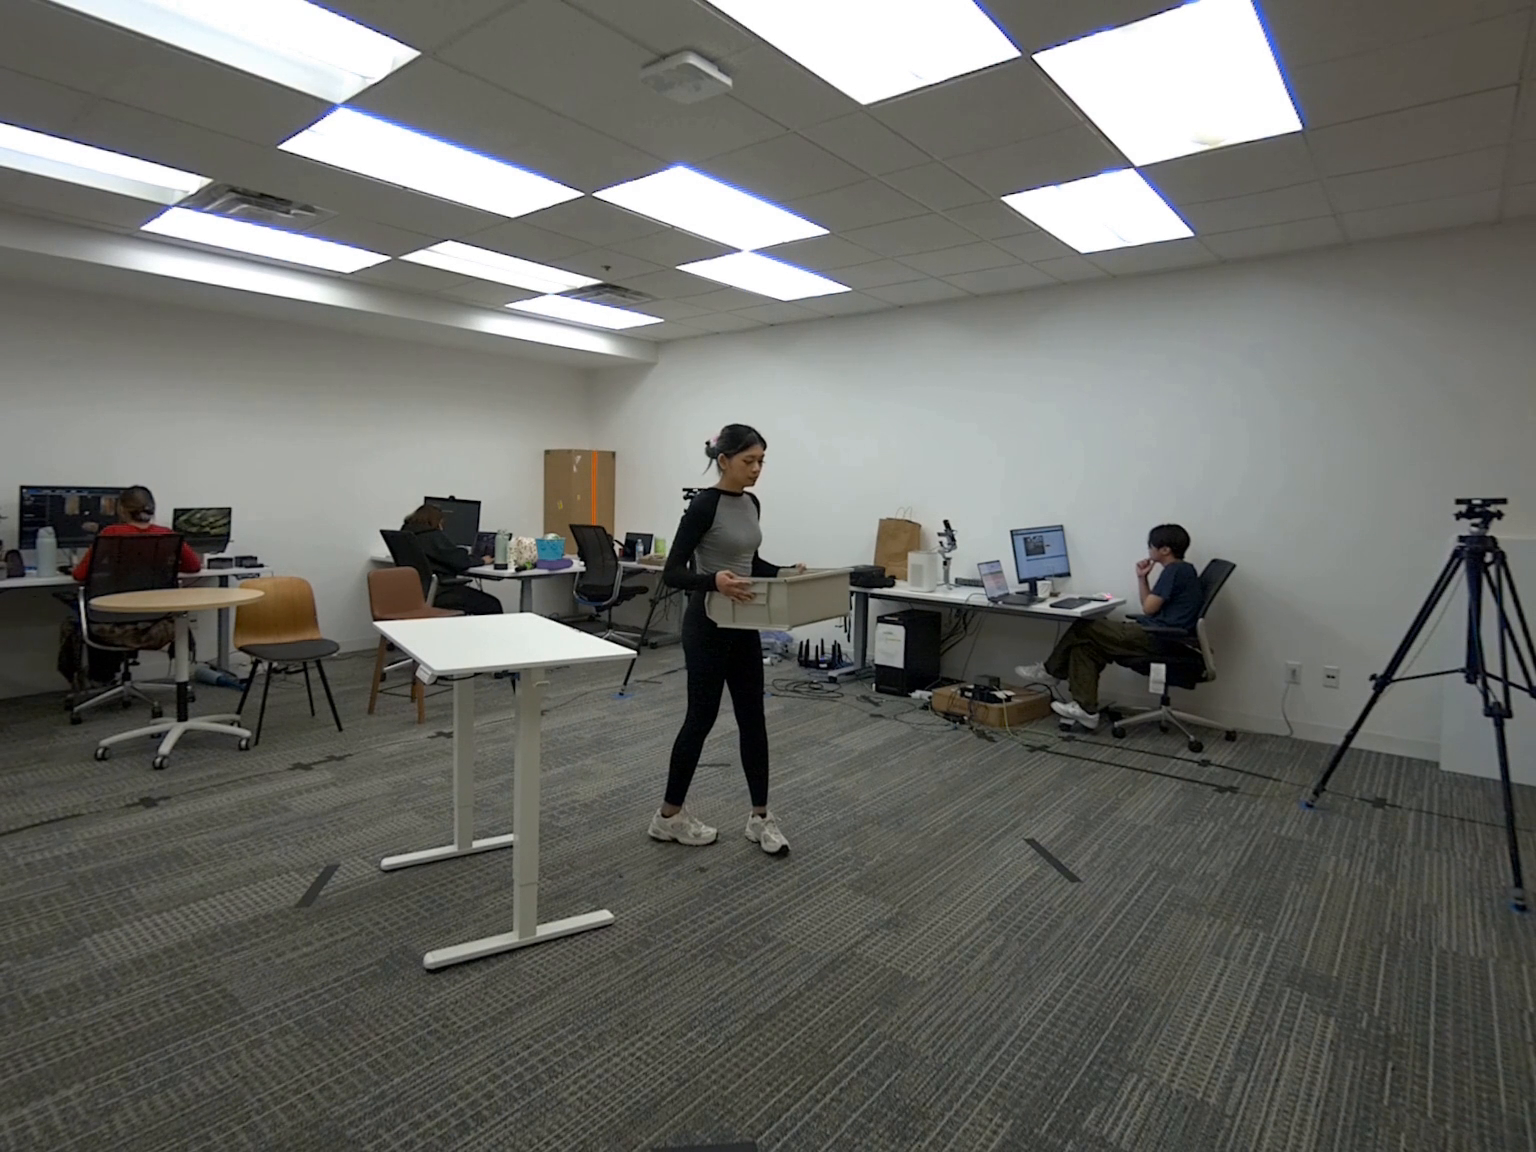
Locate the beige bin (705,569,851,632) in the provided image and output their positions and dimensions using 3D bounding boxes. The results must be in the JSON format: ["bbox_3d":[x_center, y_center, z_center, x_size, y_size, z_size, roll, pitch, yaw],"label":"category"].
[{"bbox_3d":[0.034,0.076,3.120,0.389,0.188,0.410,2,5,39],"label":"beige bin"}]
